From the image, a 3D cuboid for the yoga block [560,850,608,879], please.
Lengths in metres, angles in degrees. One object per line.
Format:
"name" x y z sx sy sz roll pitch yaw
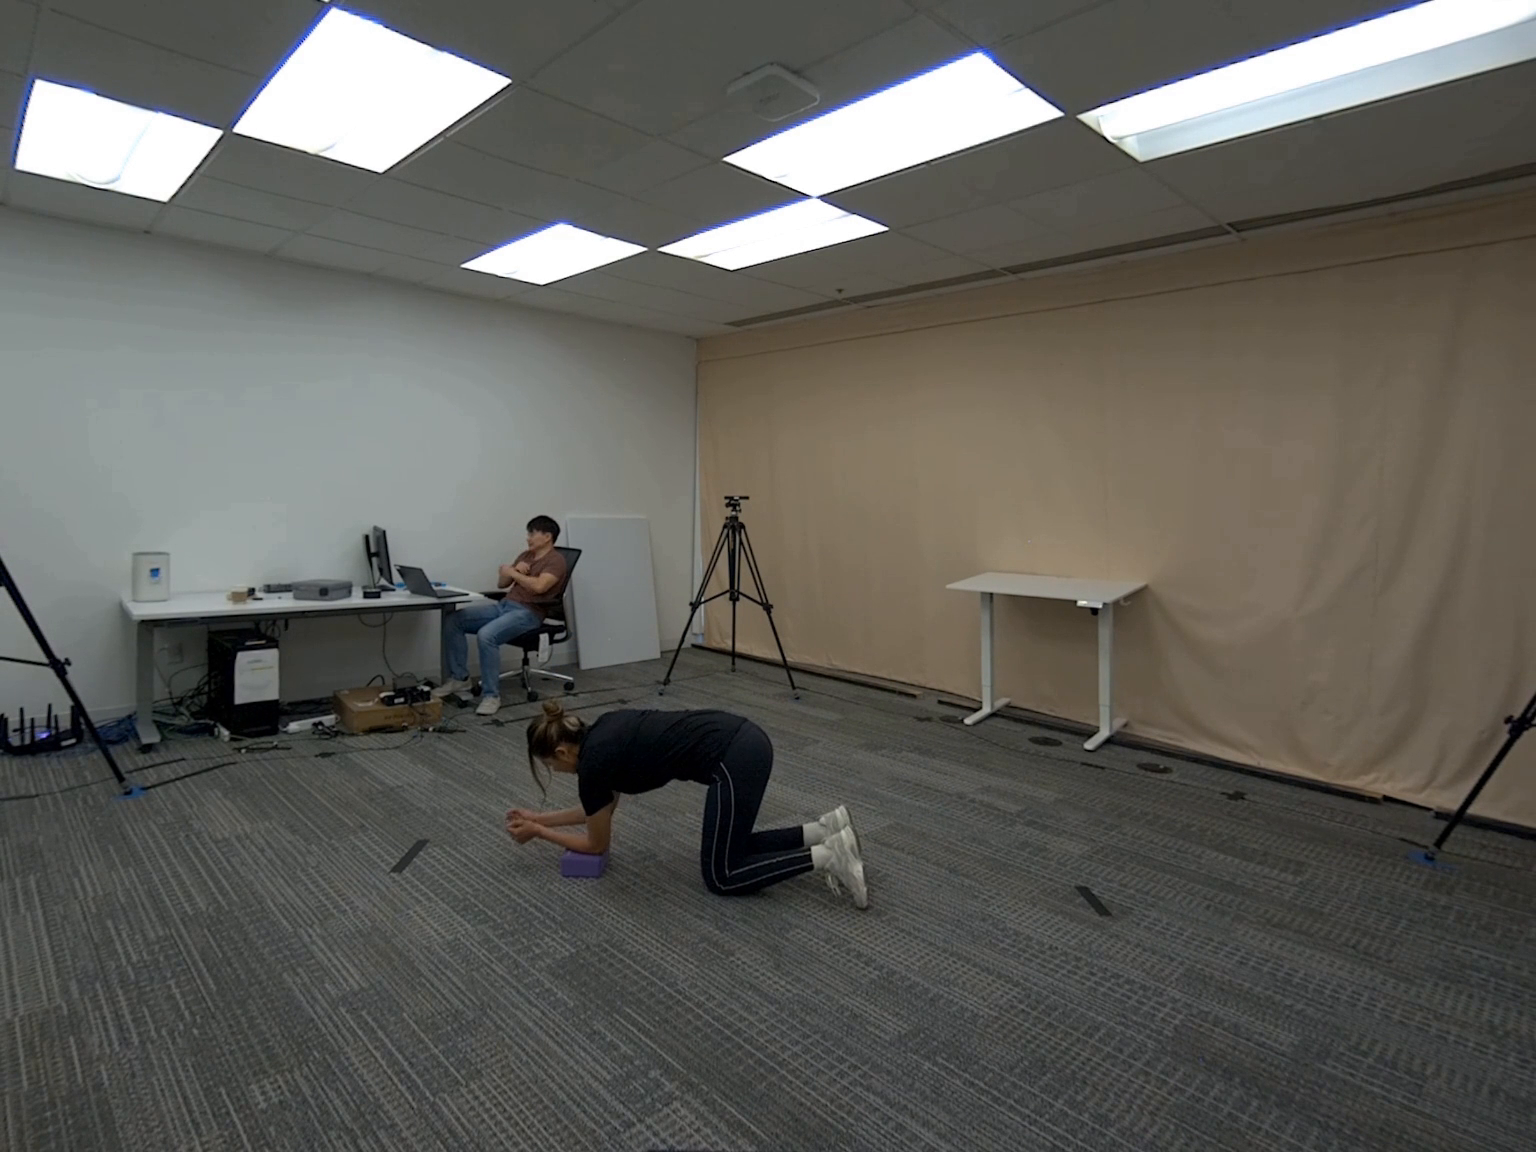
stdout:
"yoga block" -0.679 1.038 3.163 0.149 0.076 0.230 0 6 -1
